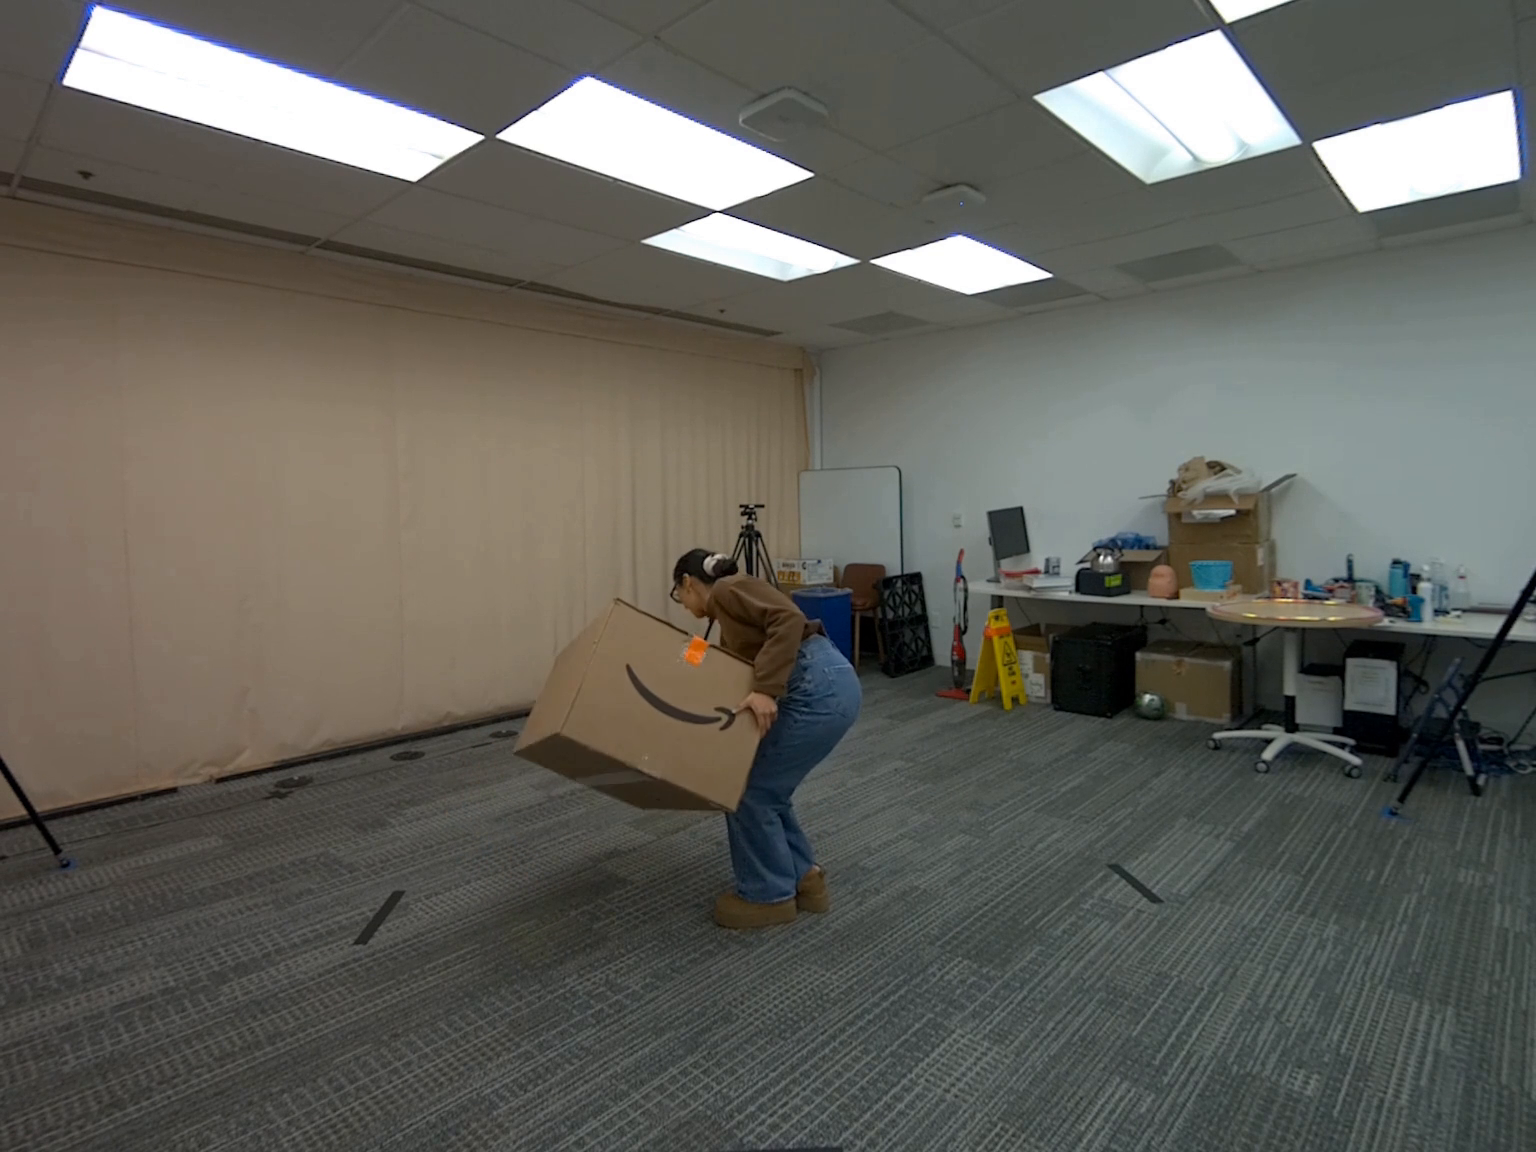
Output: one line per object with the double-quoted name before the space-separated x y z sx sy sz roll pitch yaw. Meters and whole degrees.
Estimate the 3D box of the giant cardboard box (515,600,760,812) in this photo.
"giant cardboard box" -0.476 0.487 2.907 0.568 0.428 1.039 28 -24 -14
